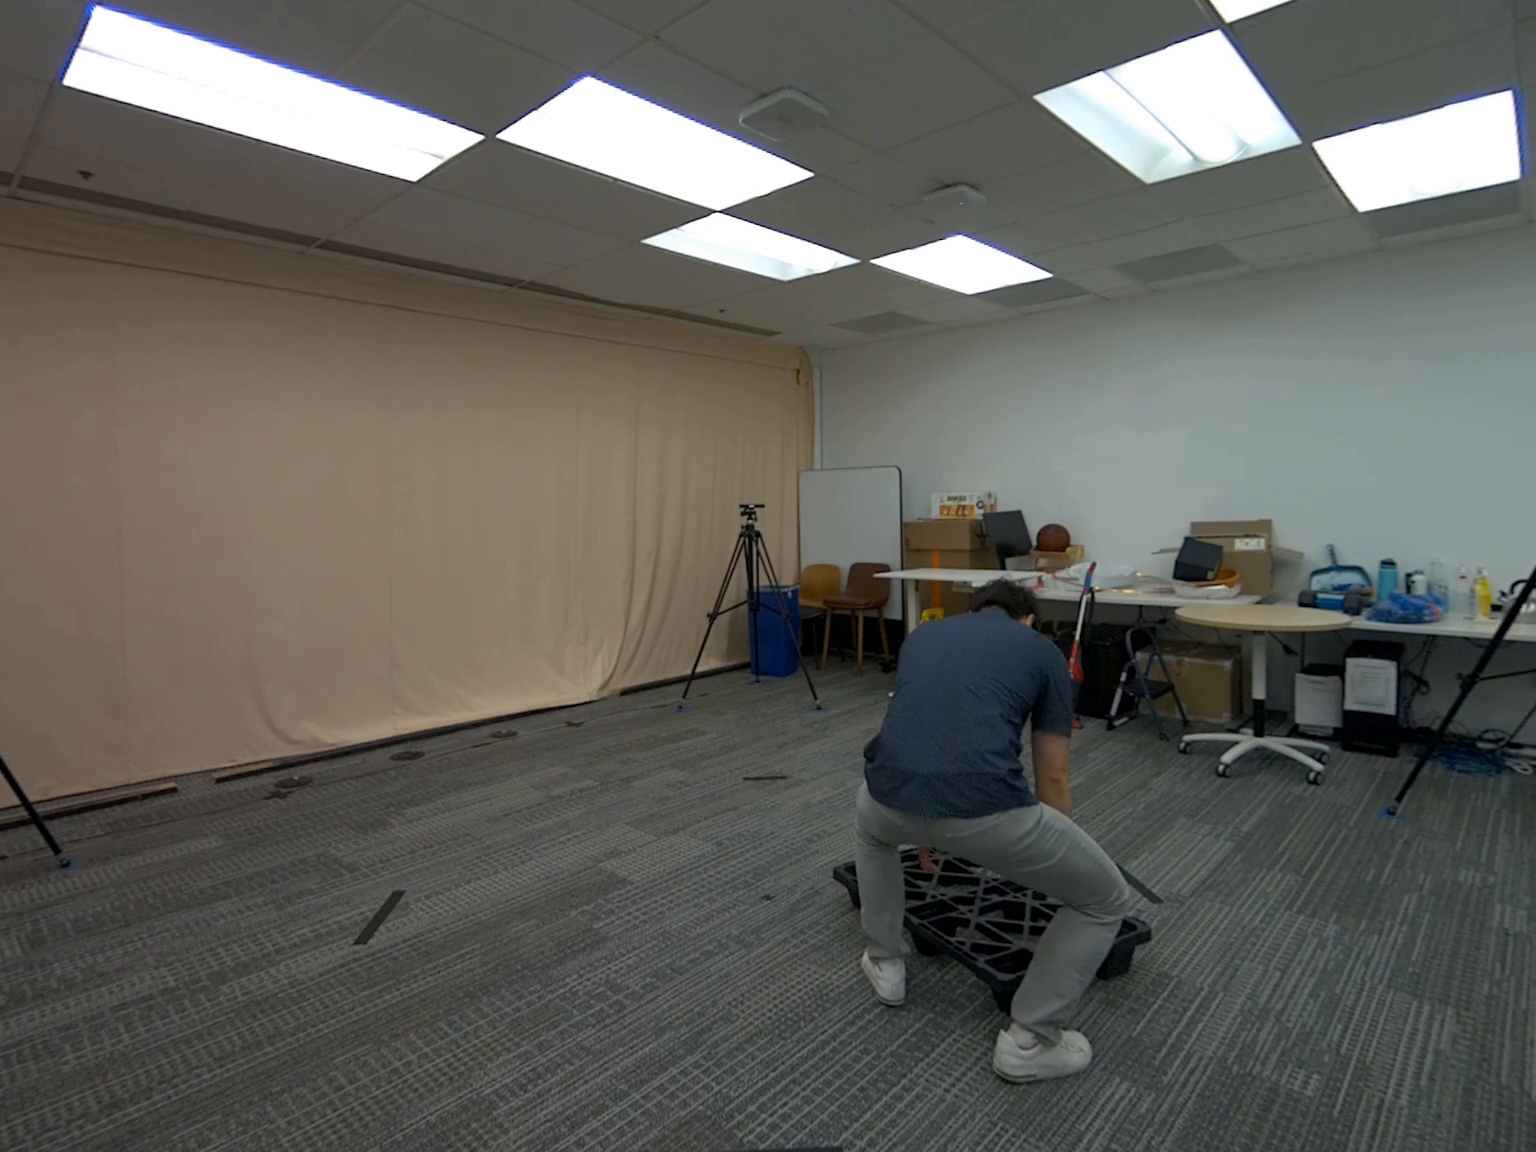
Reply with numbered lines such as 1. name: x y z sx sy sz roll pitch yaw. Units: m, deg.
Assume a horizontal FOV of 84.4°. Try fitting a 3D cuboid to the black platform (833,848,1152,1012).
1. black platform: 0.684 1.084 2.698 0.590 0.143 0.828 -3 6 -28
